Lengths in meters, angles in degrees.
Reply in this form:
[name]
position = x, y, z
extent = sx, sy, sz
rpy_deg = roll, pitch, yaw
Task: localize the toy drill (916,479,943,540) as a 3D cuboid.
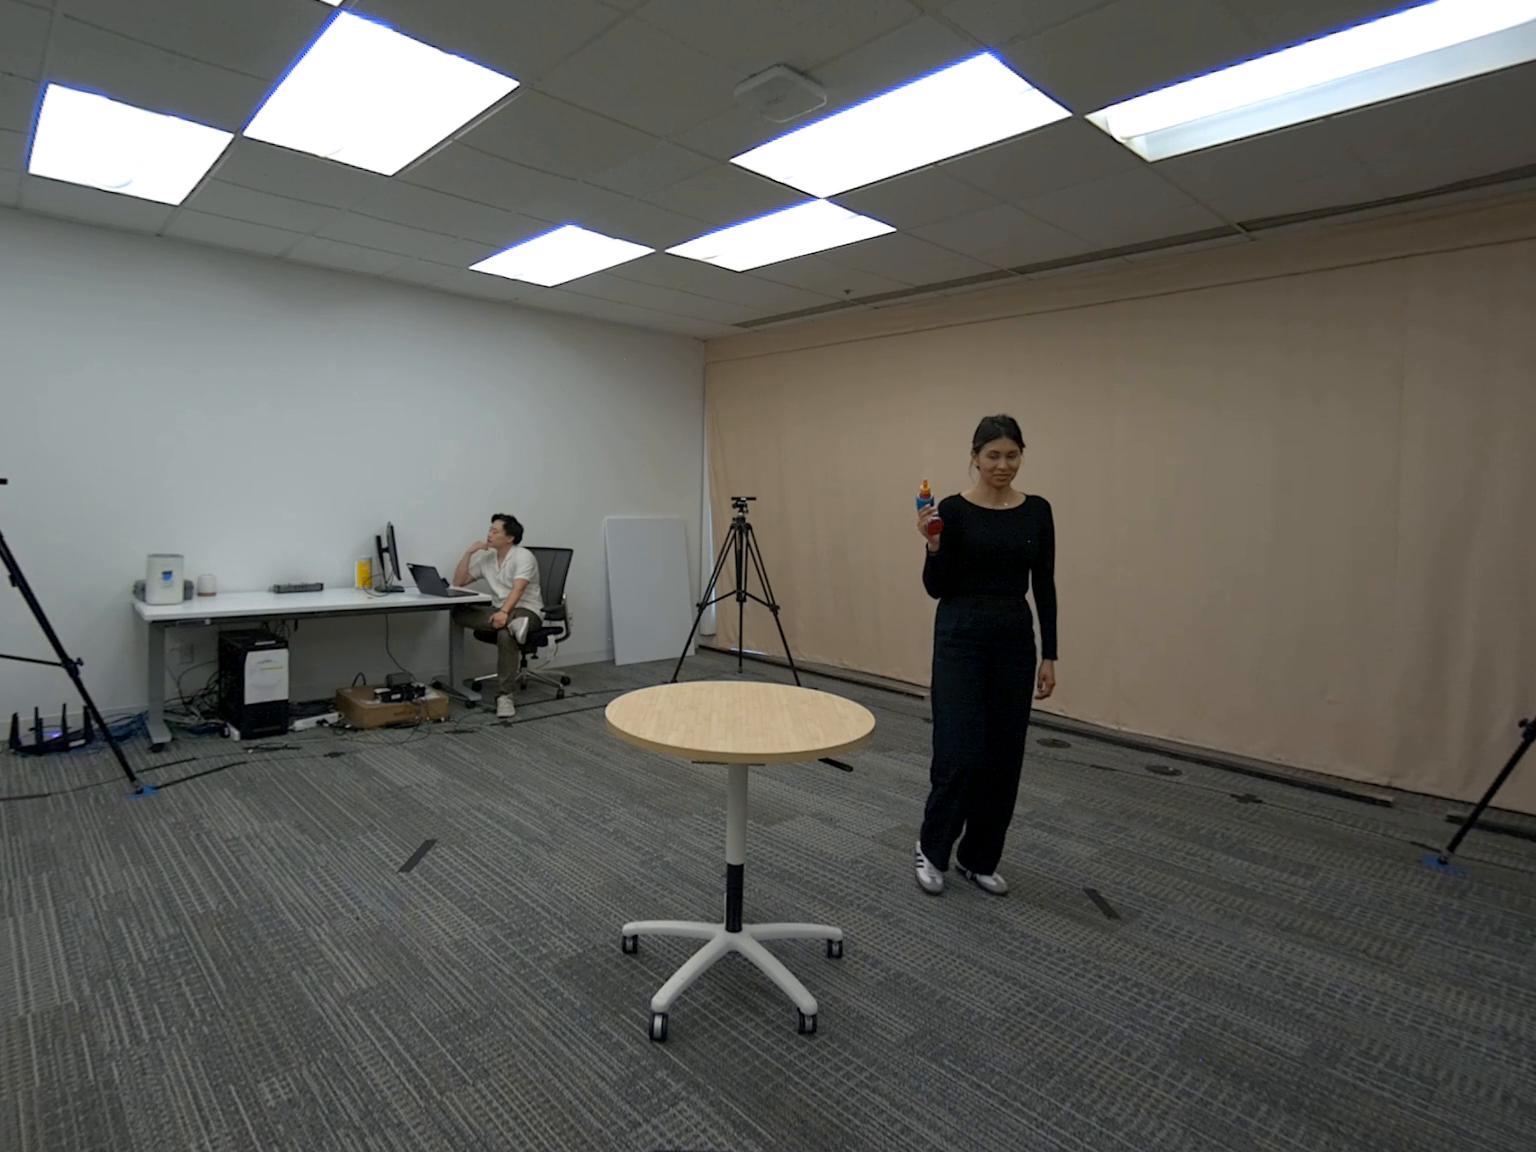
[toy drill]
position = 0.535, -0.236, 2.821
extent = 0.061, 0.166, 0.150
rpy_deg = -7, 43, -3
